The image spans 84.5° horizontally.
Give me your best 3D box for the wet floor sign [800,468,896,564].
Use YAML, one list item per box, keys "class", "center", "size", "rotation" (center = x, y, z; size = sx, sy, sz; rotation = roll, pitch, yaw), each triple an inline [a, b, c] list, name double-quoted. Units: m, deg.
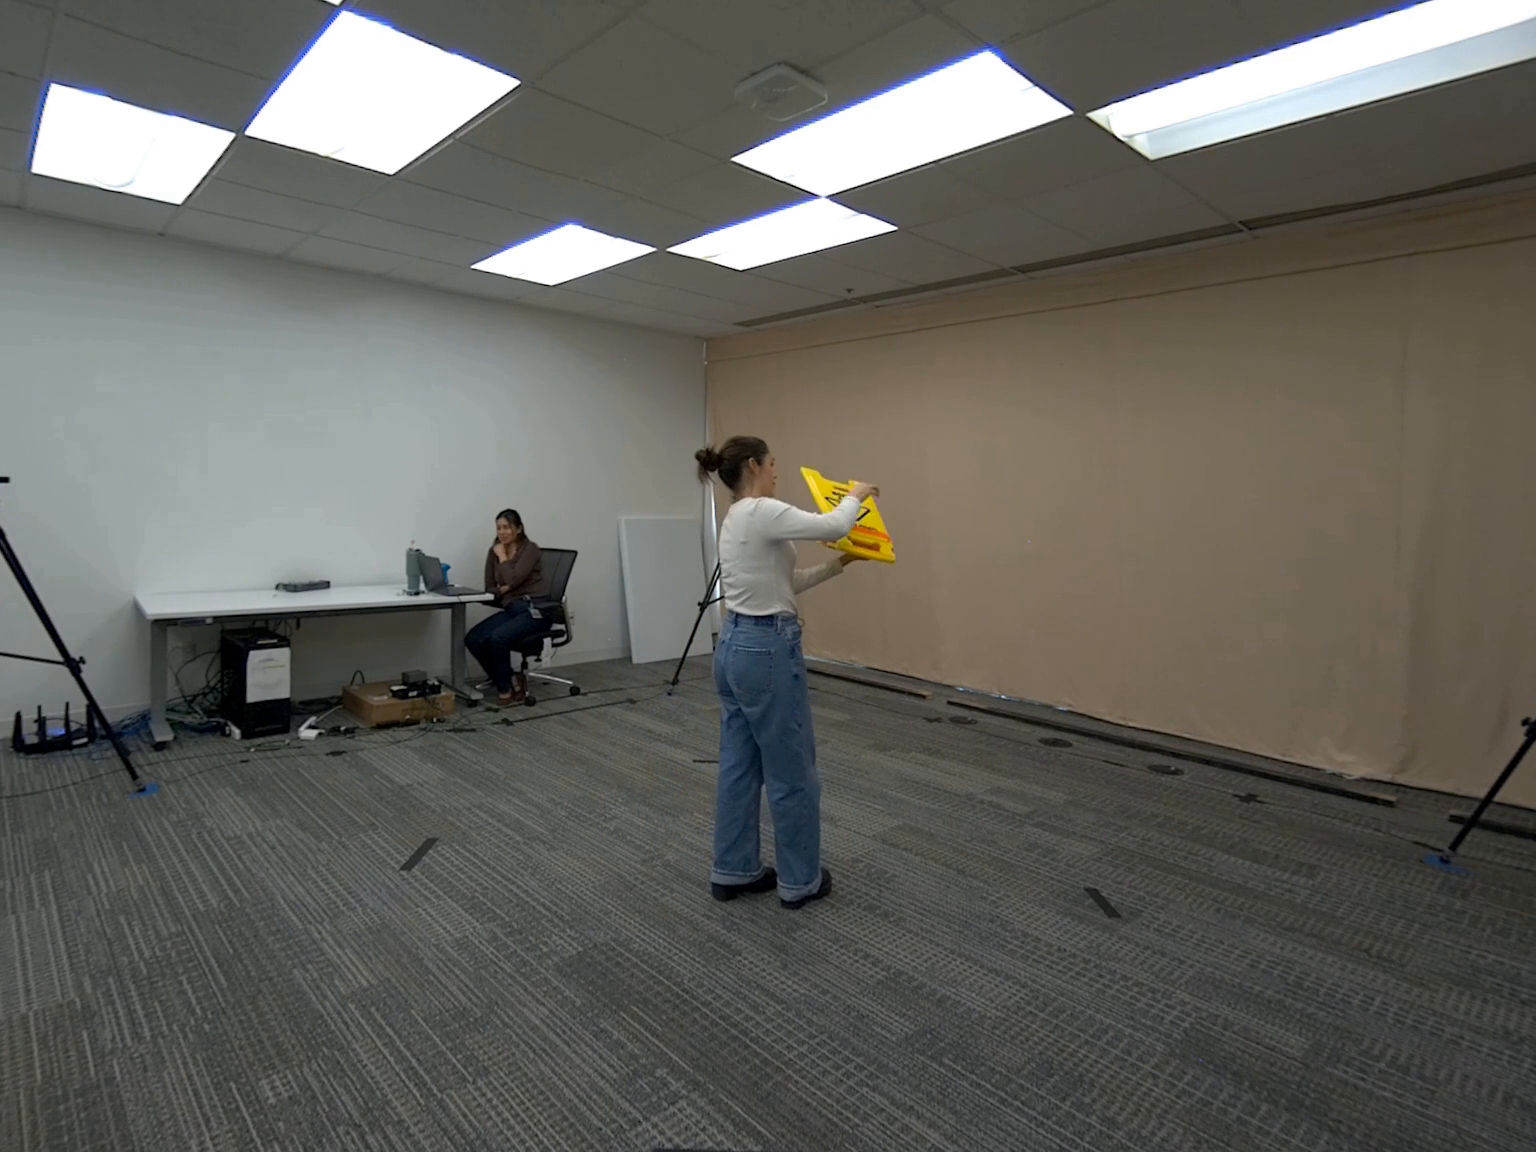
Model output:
- class: "wet floor sign"
  center: [0.274, -0.171, 3.033]
  size: [0.279, 0.288, 0.657]
  rotation: [13, 14, -12]
